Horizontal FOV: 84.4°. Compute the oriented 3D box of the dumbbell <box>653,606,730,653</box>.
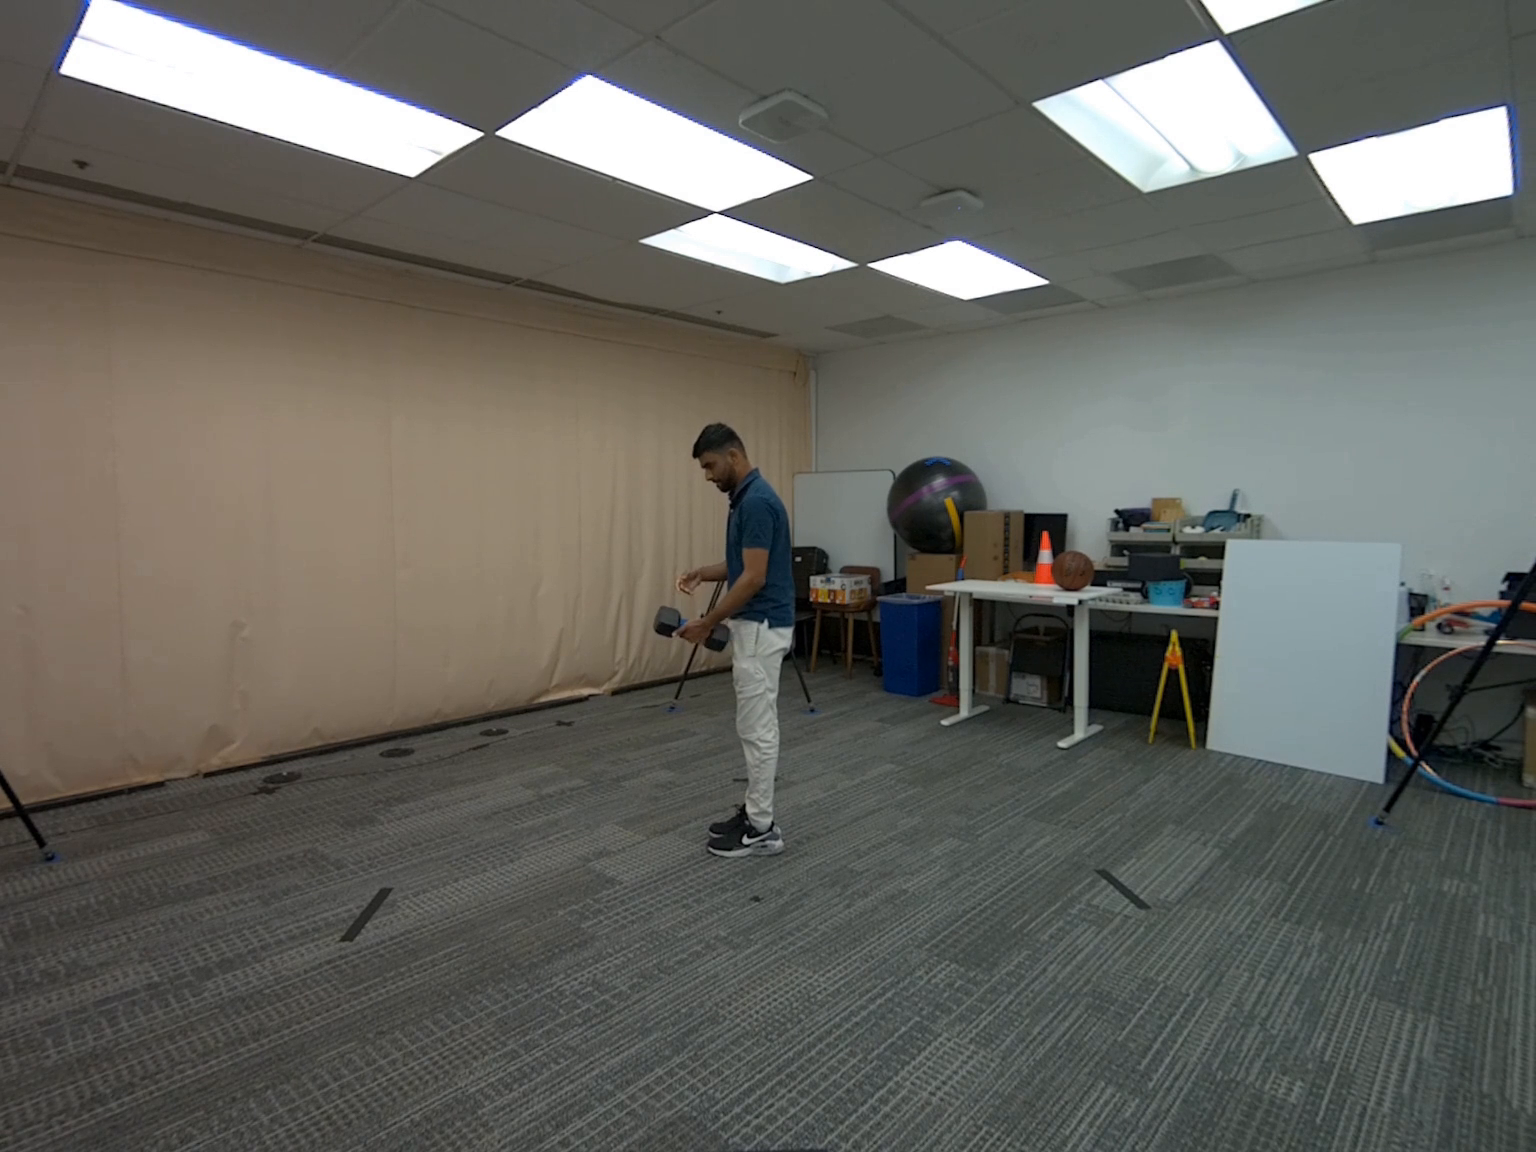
[{"bbox_3d":[-0.296,0.208,3.345,0.288,0.123,0.111,19,34,-16],"label":"dumbbell"}]
